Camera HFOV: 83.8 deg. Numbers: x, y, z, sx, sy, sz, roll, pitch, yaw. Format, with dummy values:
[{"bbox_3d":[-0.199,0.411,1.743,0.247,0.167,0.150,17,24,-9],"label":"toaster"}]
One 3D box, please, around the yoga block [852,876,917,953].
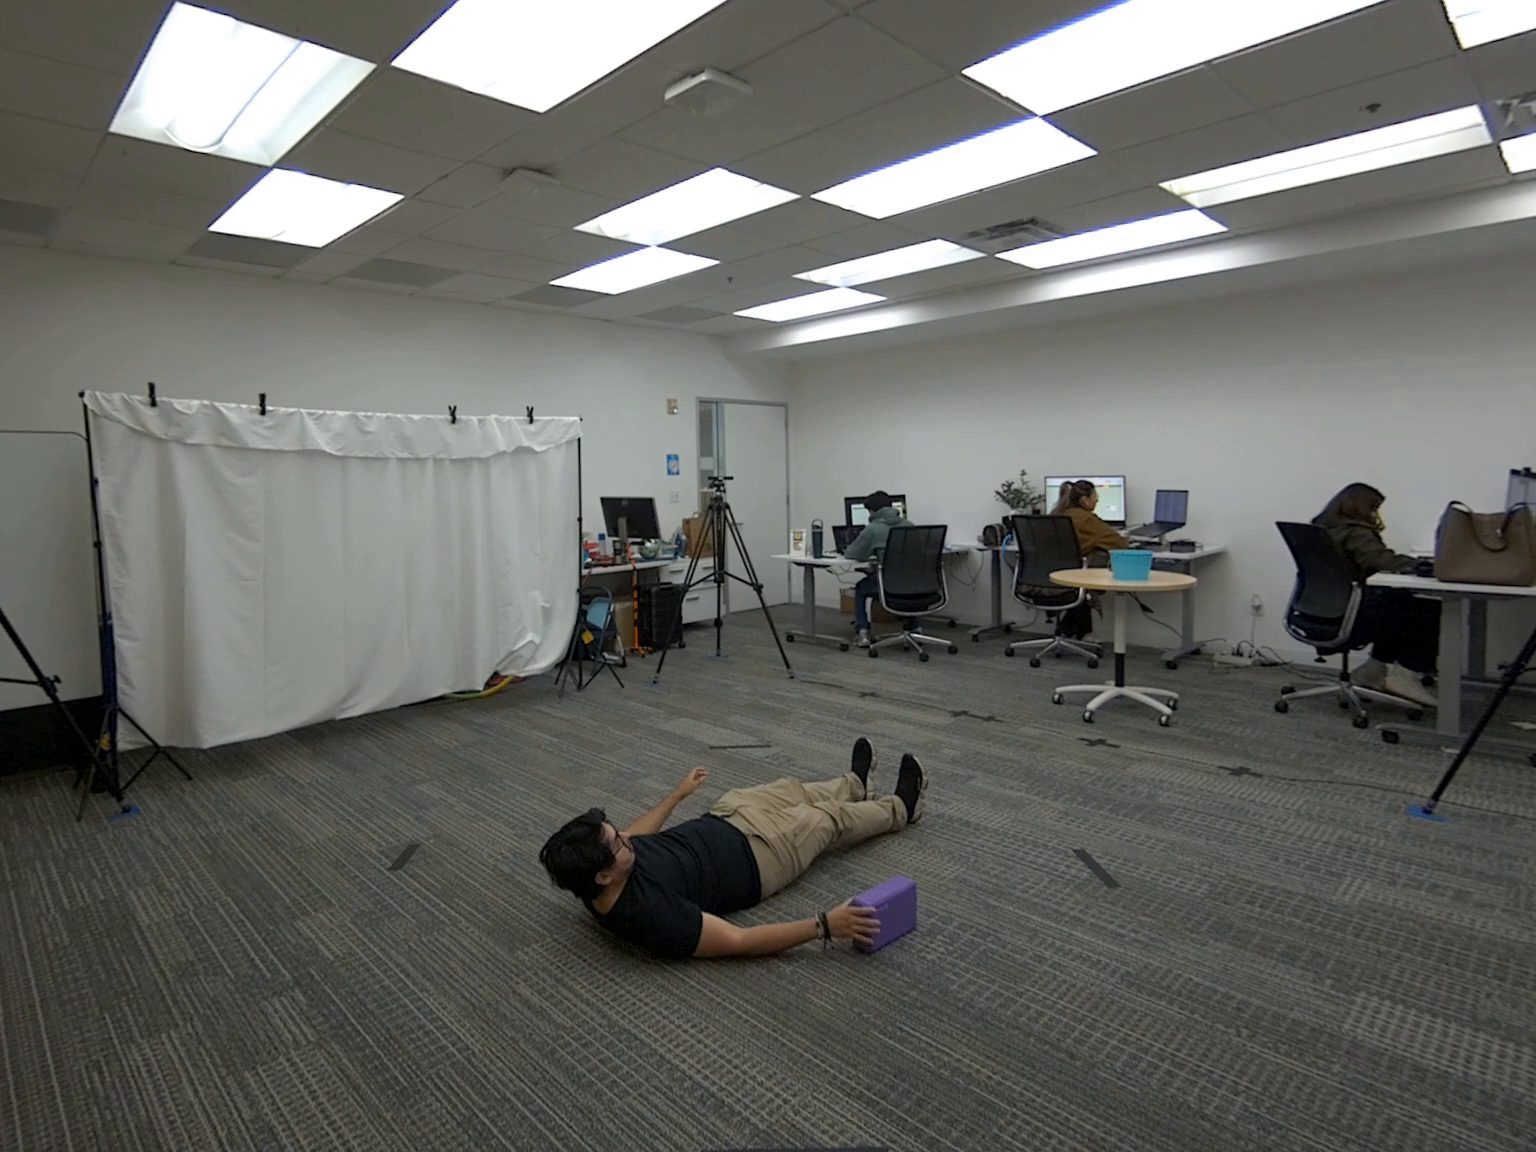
[{"bbox_3d":[0.359,1.013,2.577,0.223,0.148,0.079,-5,7,-41],"label":"yoga block"}]
